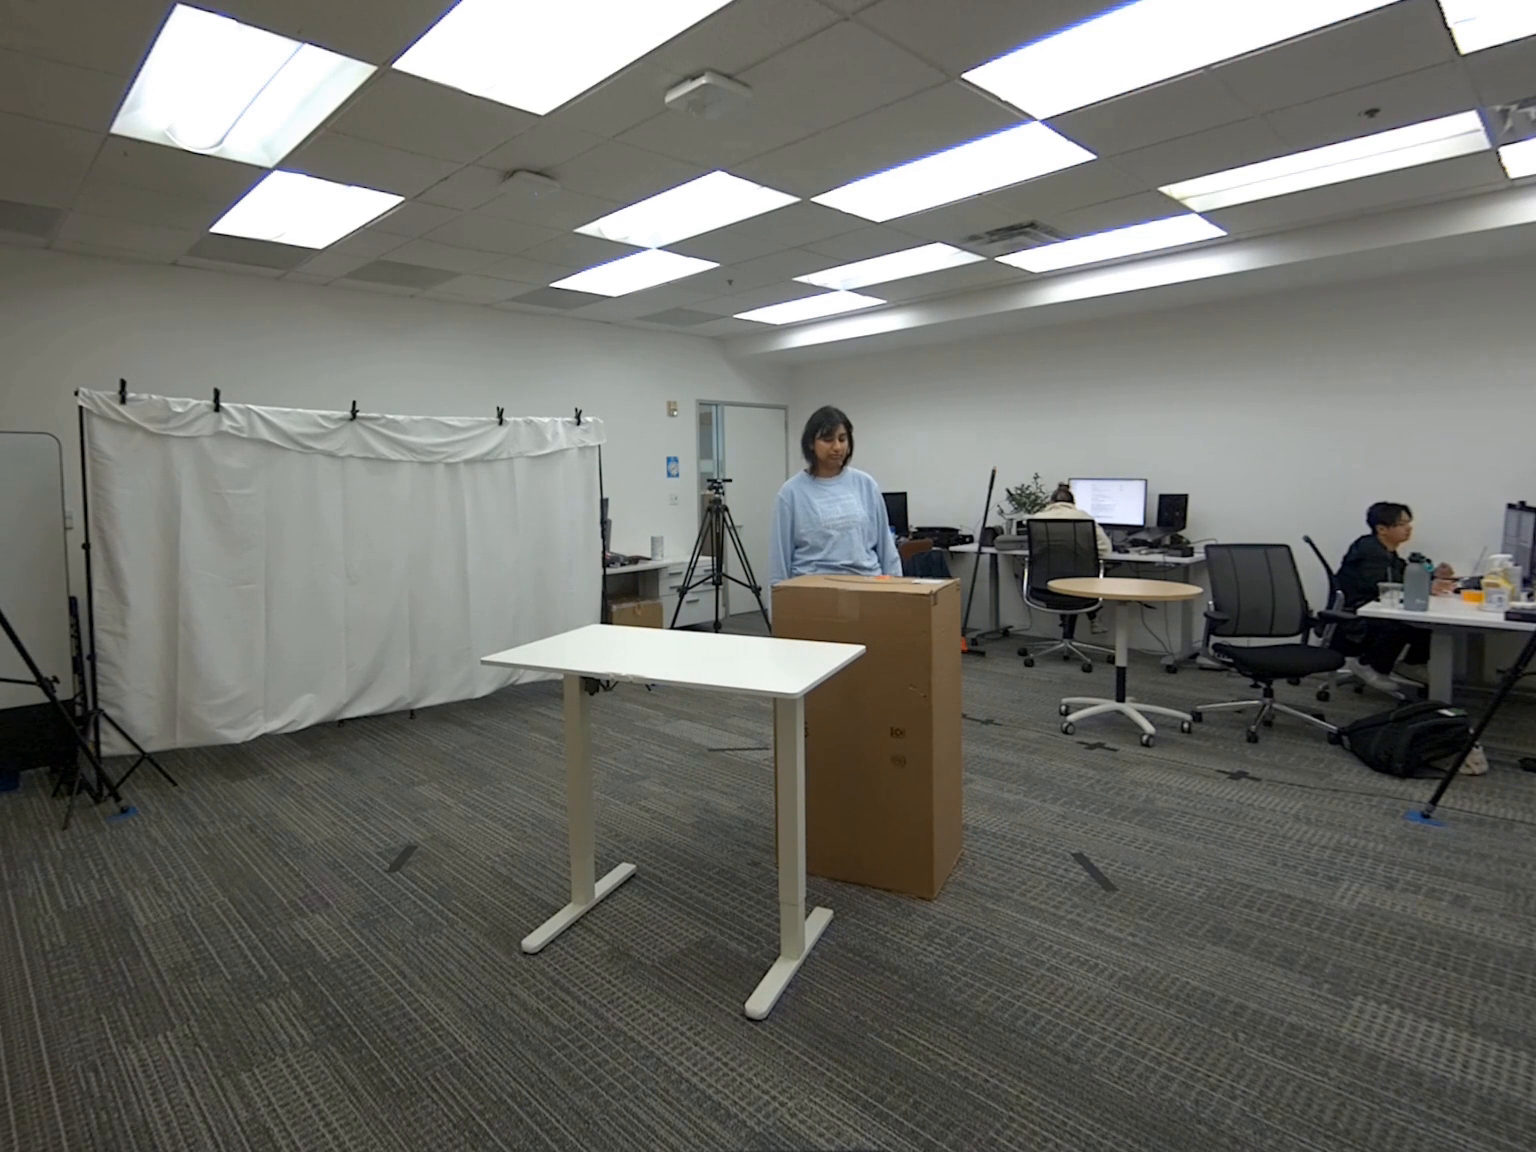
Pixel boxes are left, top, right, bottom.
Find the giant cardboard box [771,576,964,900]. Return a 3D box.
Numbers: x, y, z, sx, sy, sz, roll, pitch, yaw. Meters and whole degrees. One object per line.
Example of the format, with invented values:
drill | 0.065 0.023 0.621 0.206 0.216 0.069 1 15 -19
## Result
giant cardboard box | 0.371 0.533 3.094 0.591 1.022 0.417 1 4 27
